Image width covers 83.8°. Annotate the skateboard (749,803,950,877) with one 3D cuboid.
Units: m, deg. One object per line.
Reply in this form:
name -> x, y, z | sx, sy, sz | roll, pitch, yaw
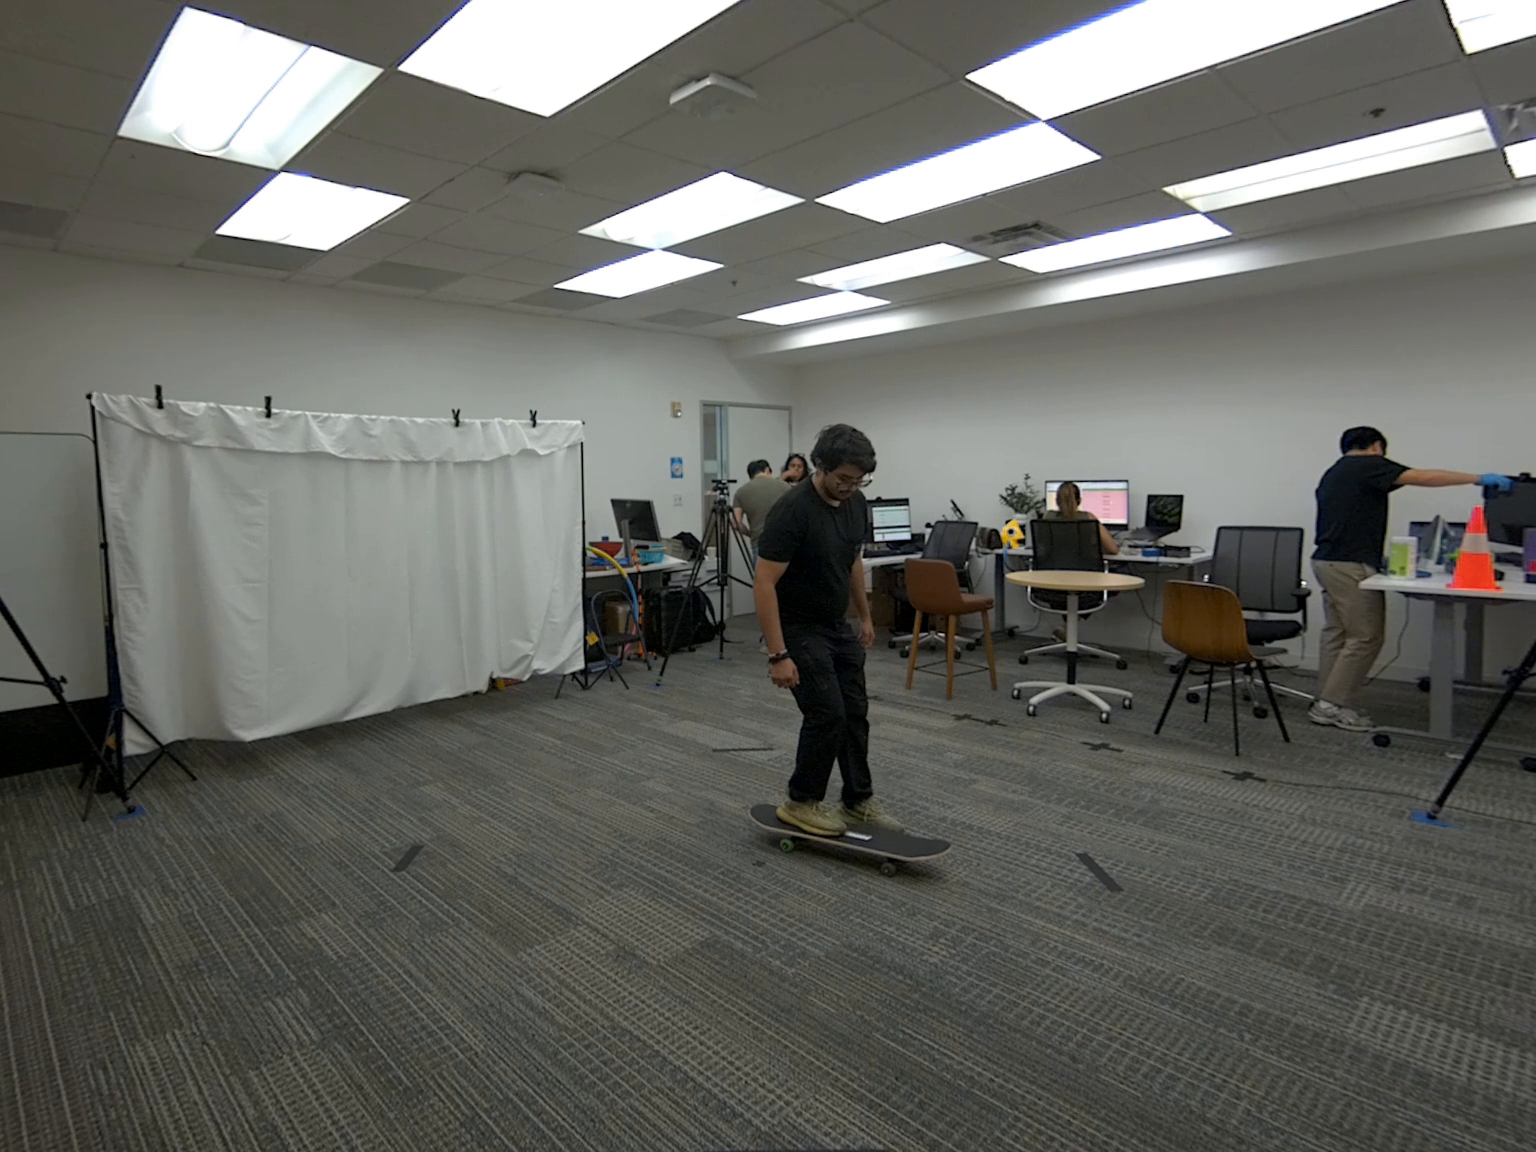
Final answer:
skateboard -> 0.290, 0.983, 3.170 | 0.806, 0.110, 0.189 | 2, 6, 31
